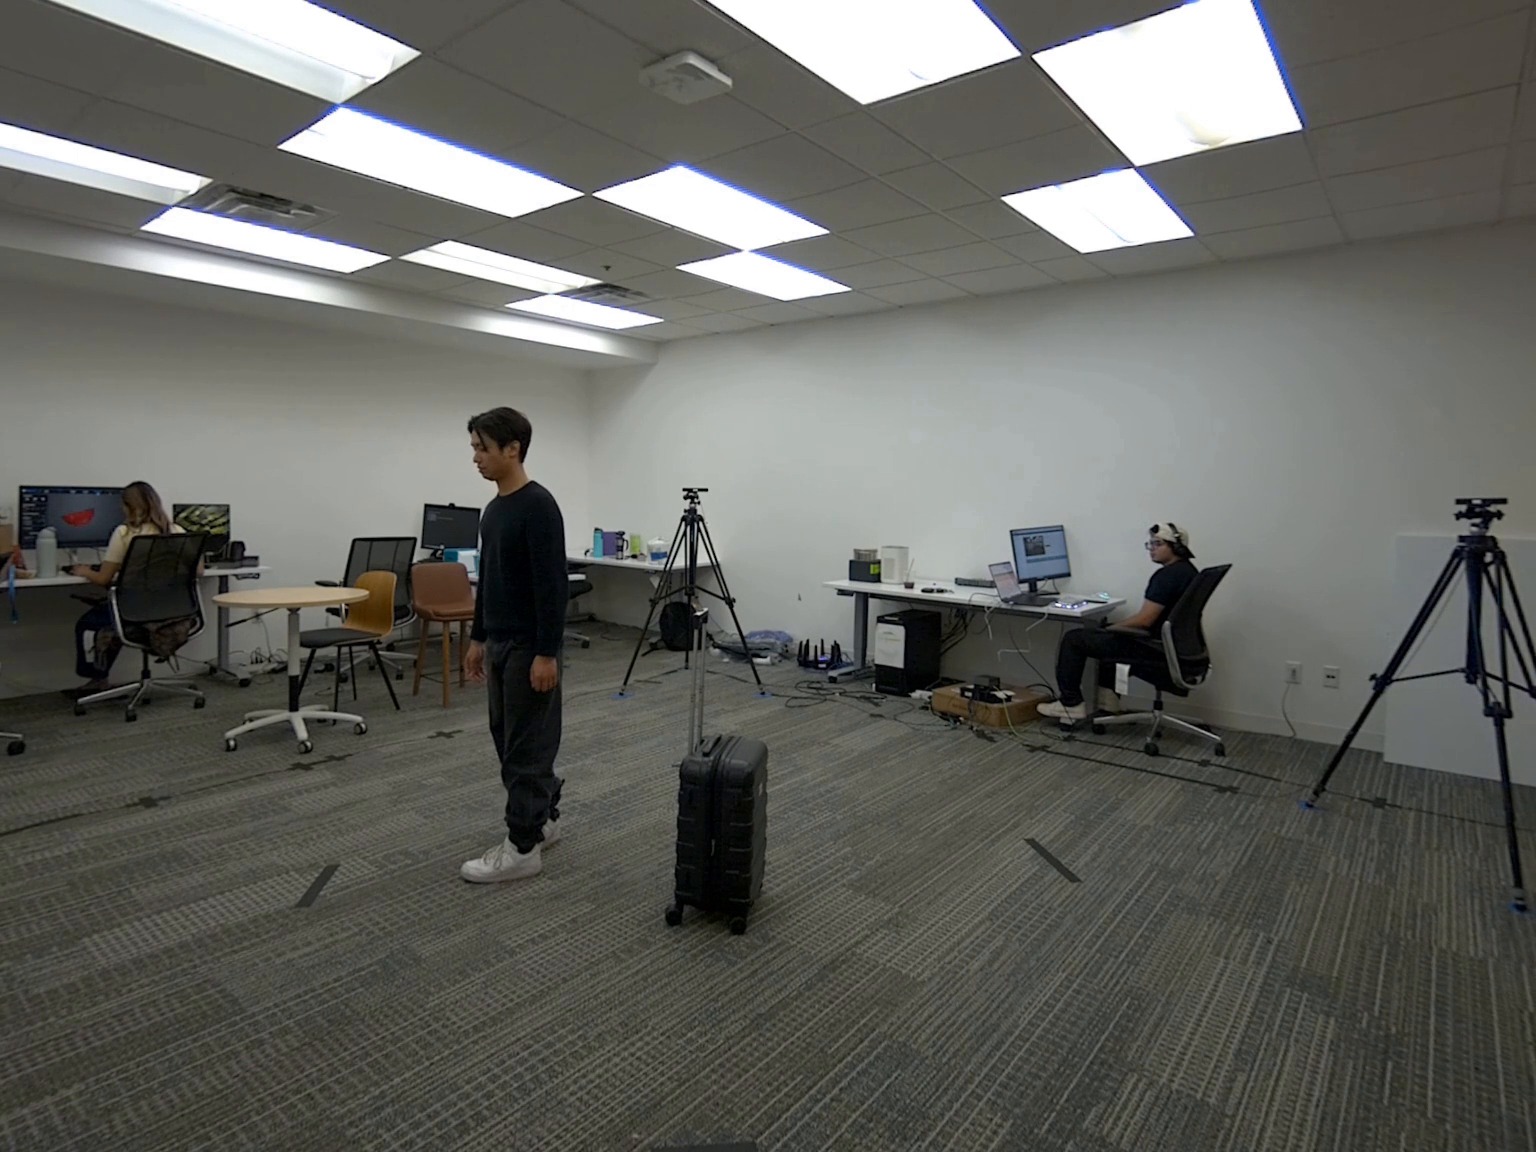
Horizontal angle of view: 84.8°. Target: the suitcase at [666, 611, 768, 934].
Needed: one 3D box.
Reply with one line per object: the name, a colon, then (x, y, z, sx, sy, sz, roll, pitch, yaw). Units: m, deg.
suitcase: (-0.144, 0.620, 2.815, 0.260, 0.976, 0.380, 4, 3, 9)
